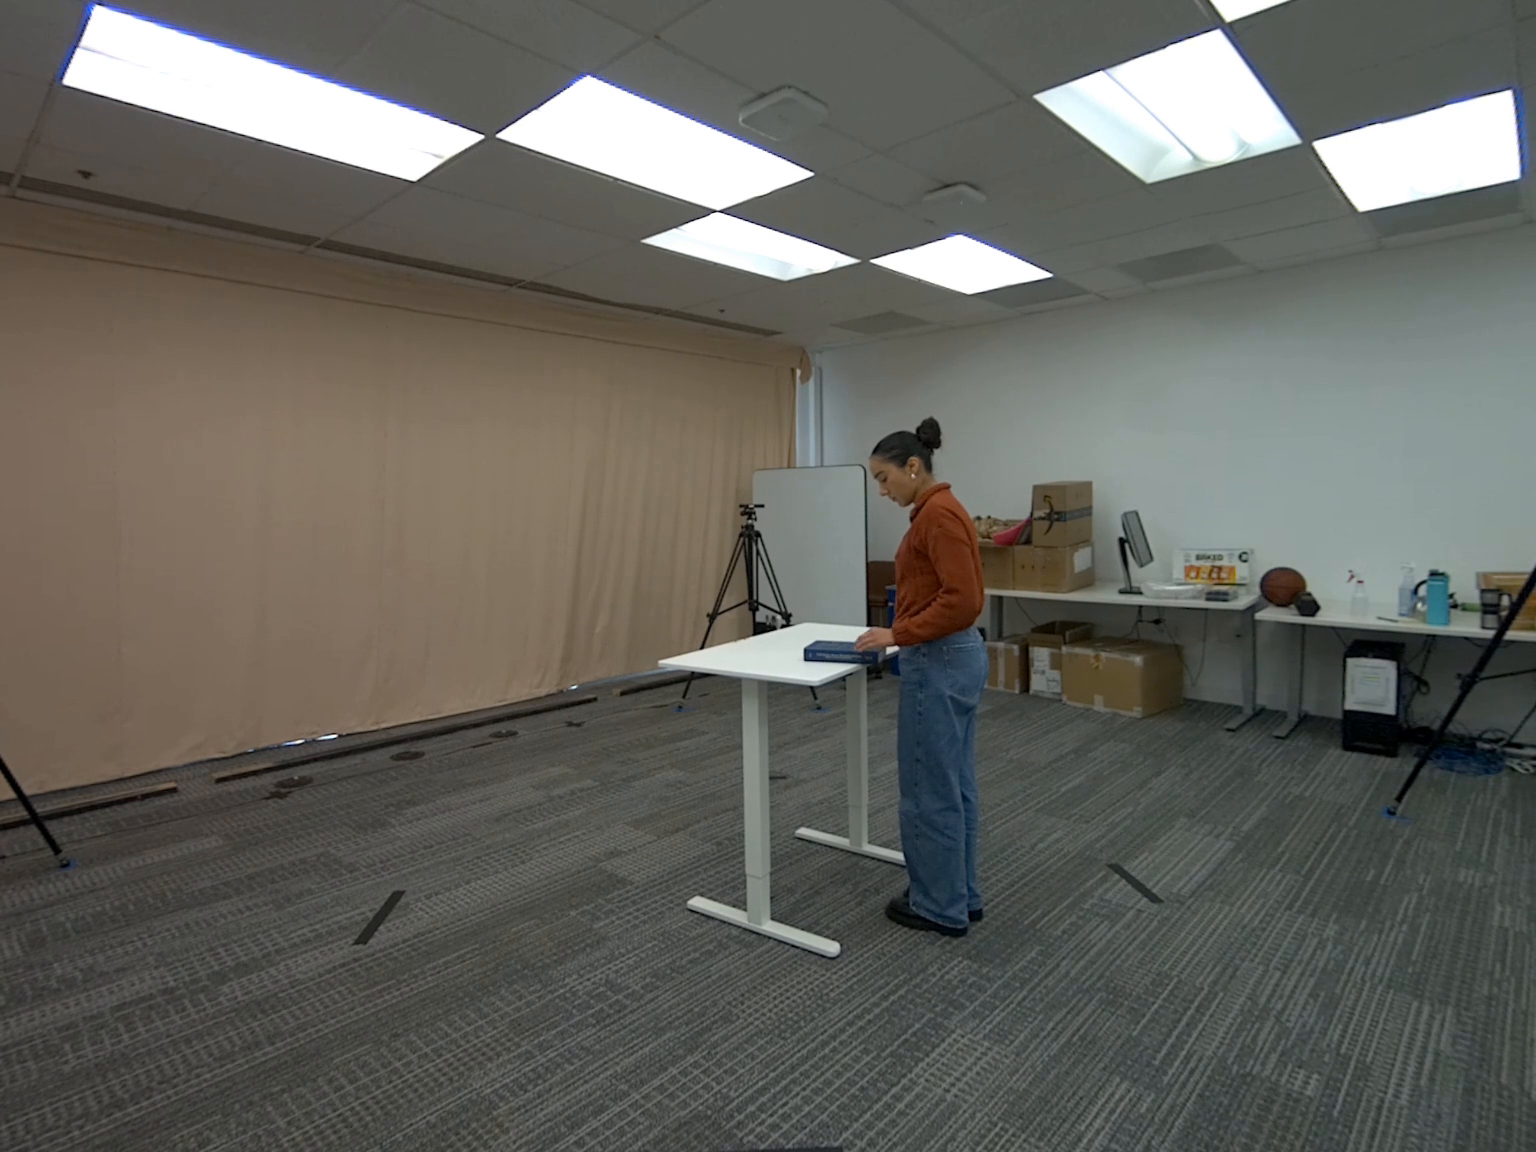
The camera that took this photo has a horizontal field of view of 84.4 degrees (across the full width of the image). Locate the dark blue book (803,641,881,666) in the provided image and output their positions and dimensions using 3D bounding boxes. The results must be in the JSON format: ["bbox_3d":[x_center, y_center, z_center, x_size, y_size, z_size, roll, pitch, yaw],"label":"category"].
[{"bbox_3d":[0.269,0.257,2.760,0.250,0.045,0.160,1,6,20],"label":"dark blue book"}]
